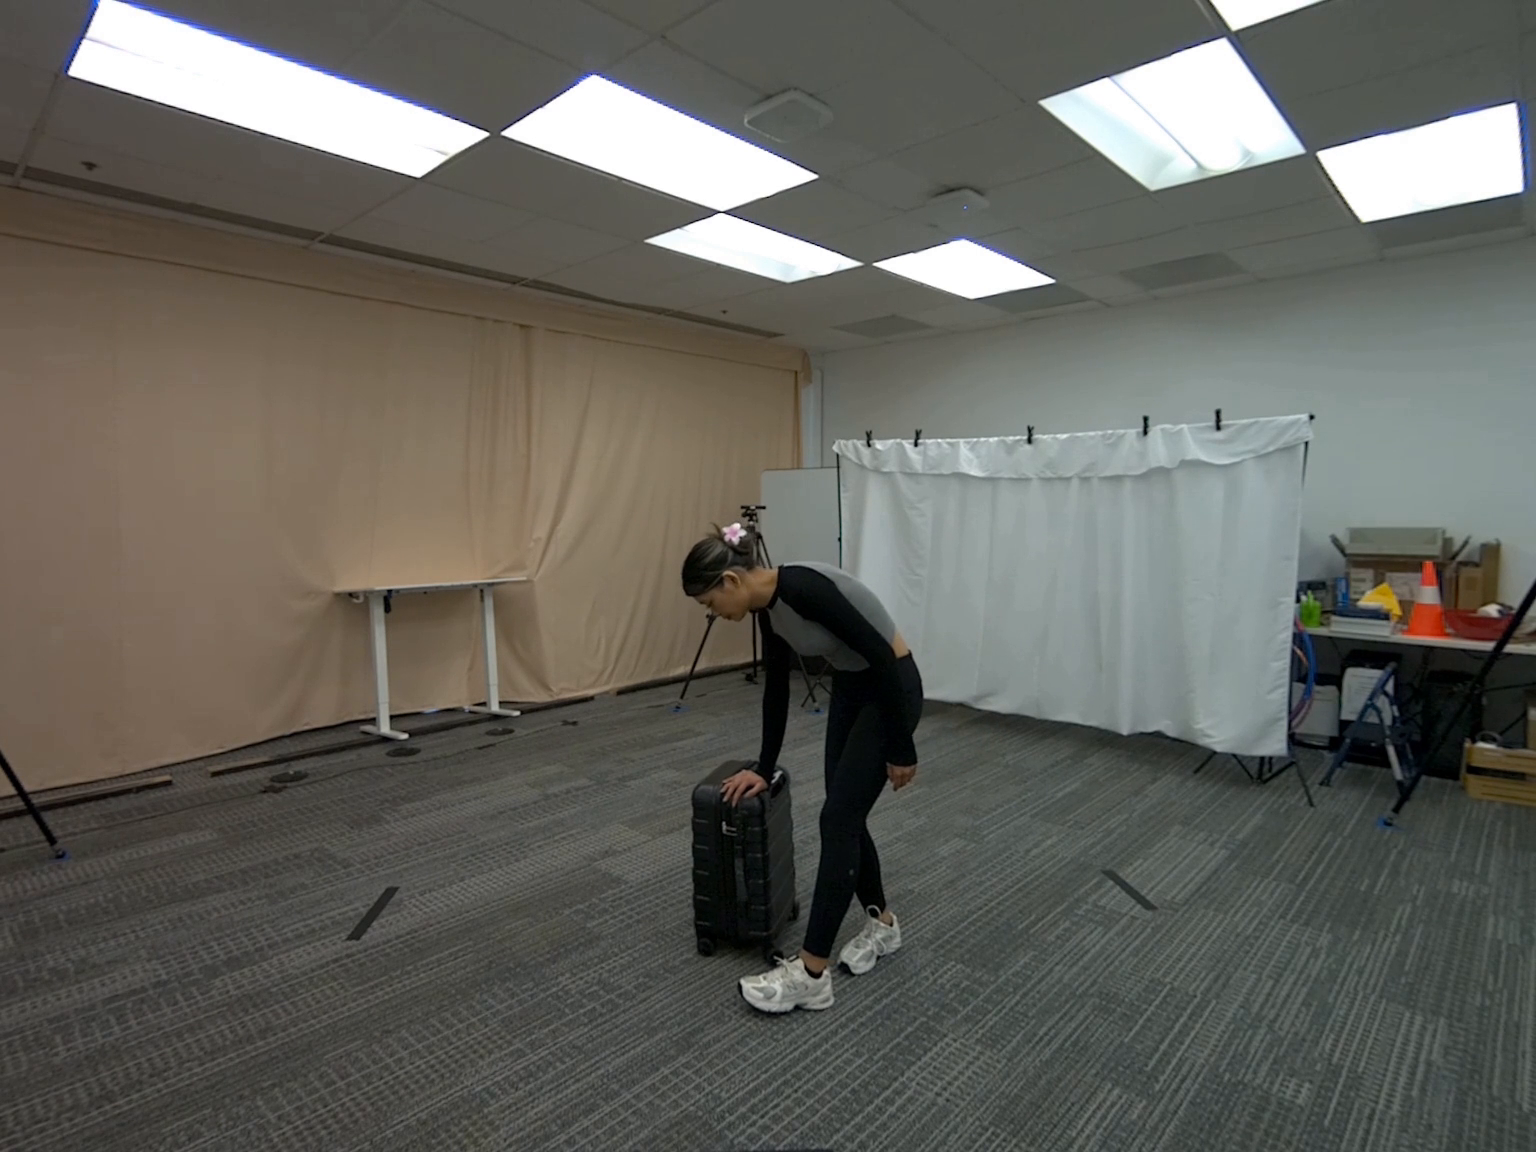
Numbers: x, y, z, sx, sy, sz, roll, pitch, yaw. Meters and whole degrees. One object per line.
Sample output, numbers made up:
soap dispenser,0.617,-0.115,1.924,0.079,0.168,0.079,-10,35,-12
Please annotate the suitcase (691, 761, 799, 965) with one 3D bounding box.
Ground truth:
suitcase,-0.078,0.892,2.718,0.253,0.548,0.368,-2,4,20
